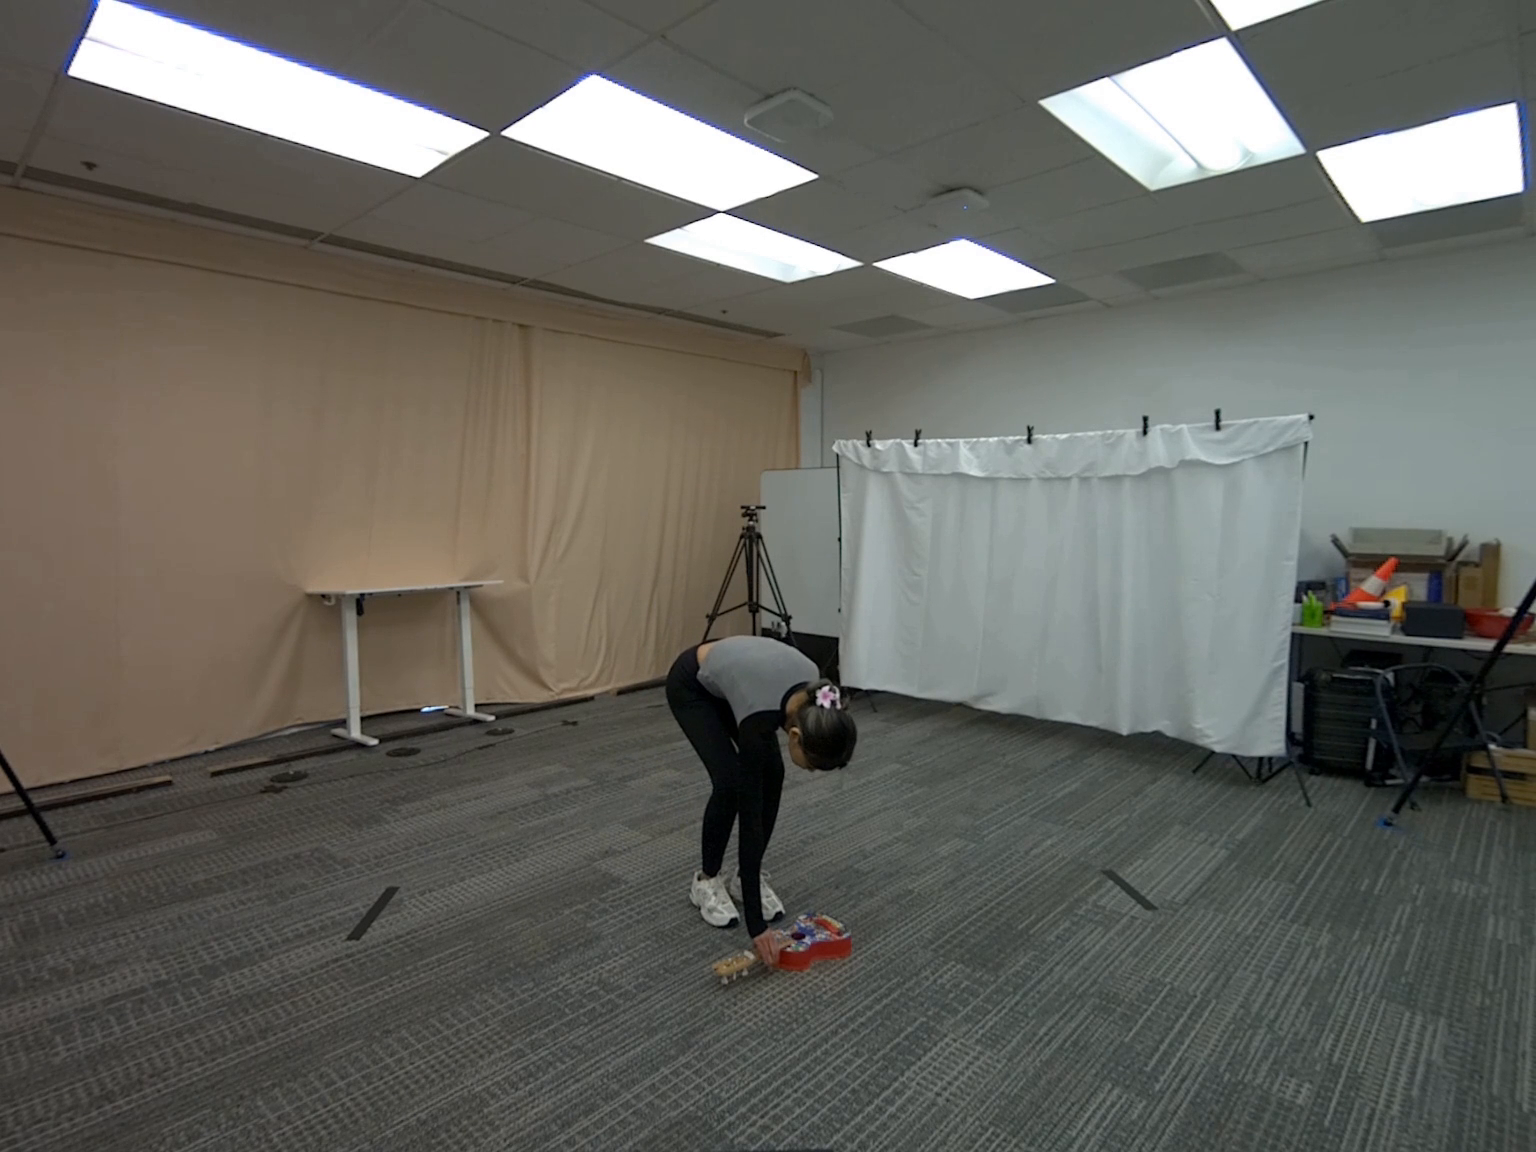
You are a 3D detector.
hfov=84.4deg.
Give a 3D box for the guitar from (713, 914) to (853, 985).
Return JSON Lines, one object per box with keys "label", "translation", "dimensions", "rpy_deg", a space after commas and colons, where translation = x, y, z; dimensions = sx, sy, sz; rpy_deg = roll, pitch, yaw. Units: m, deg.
{"label": "guitar", "translation": [0.028, 1.140, 2.589], "dimensions": [0.485, 0.070, 0.198], "rpy_deg": [-2, 5, -29]}
